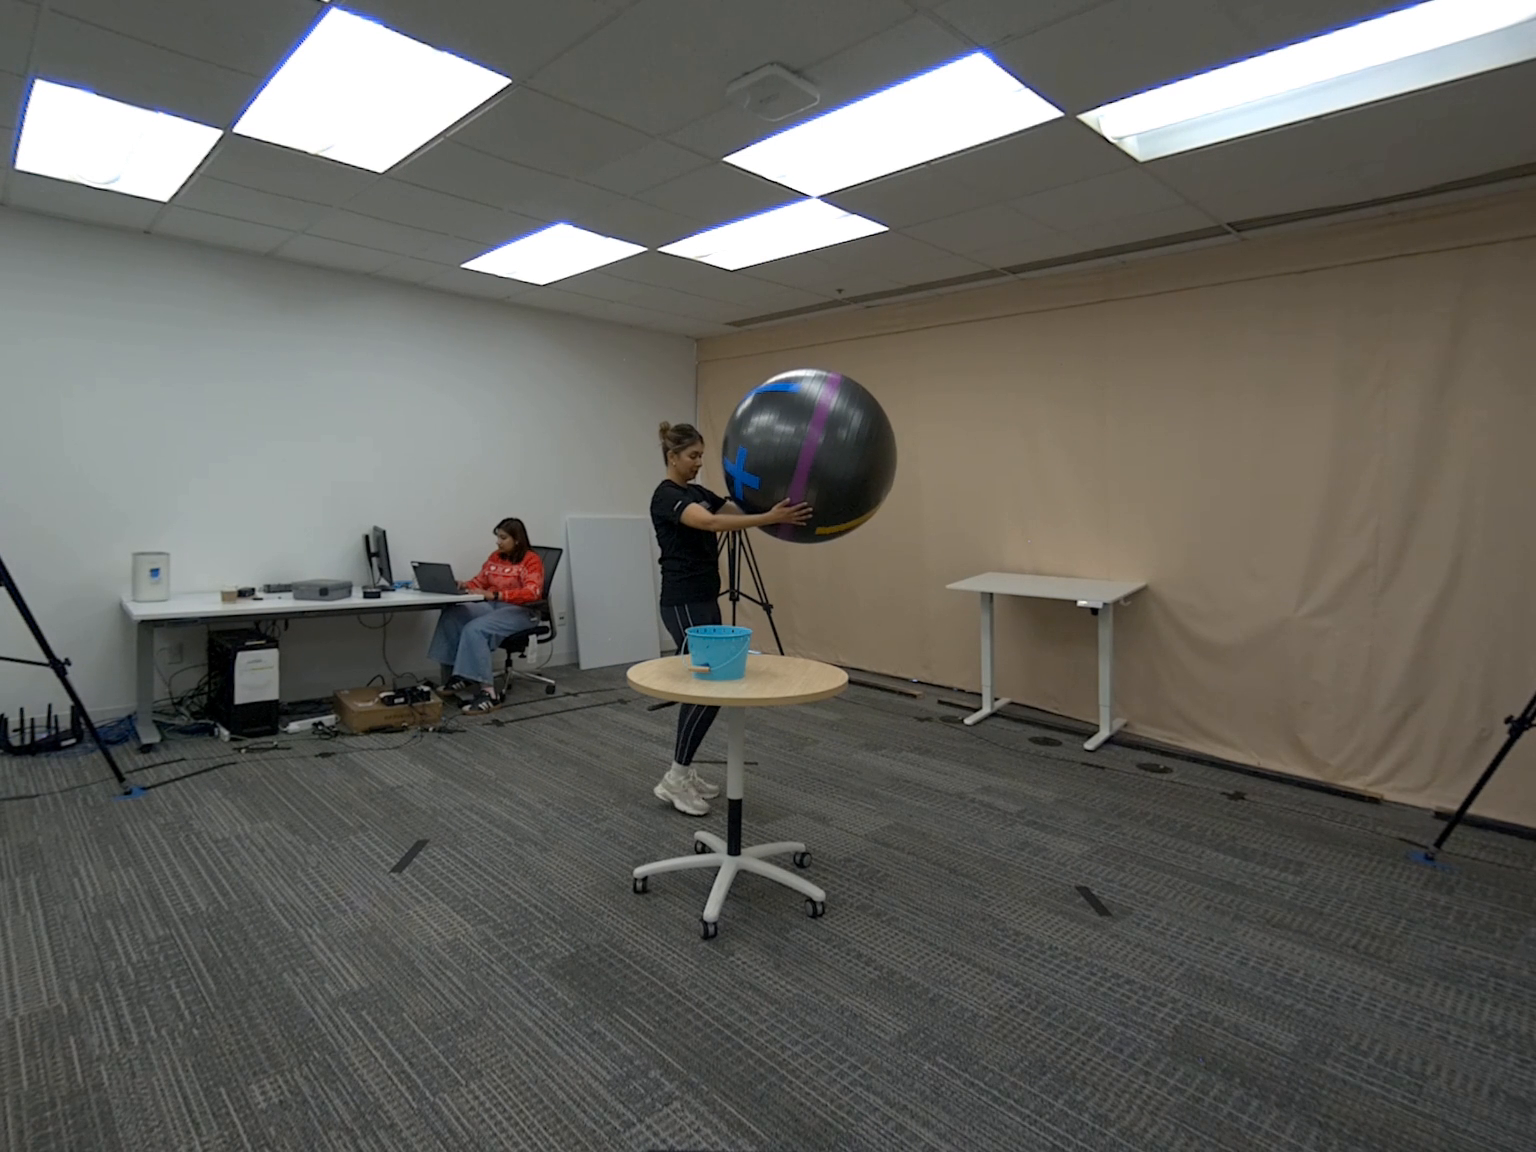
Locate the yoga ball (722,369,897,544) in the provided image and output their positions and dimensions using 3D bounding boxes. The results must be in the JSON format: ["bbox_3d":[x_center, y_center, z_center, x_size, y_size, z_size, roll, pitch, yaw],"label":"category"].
[{"bbox_3d":[0.172,-0.512,3.665,0.757,0.756,0.761,1,4,-1],"label":"yoga ball"}]
